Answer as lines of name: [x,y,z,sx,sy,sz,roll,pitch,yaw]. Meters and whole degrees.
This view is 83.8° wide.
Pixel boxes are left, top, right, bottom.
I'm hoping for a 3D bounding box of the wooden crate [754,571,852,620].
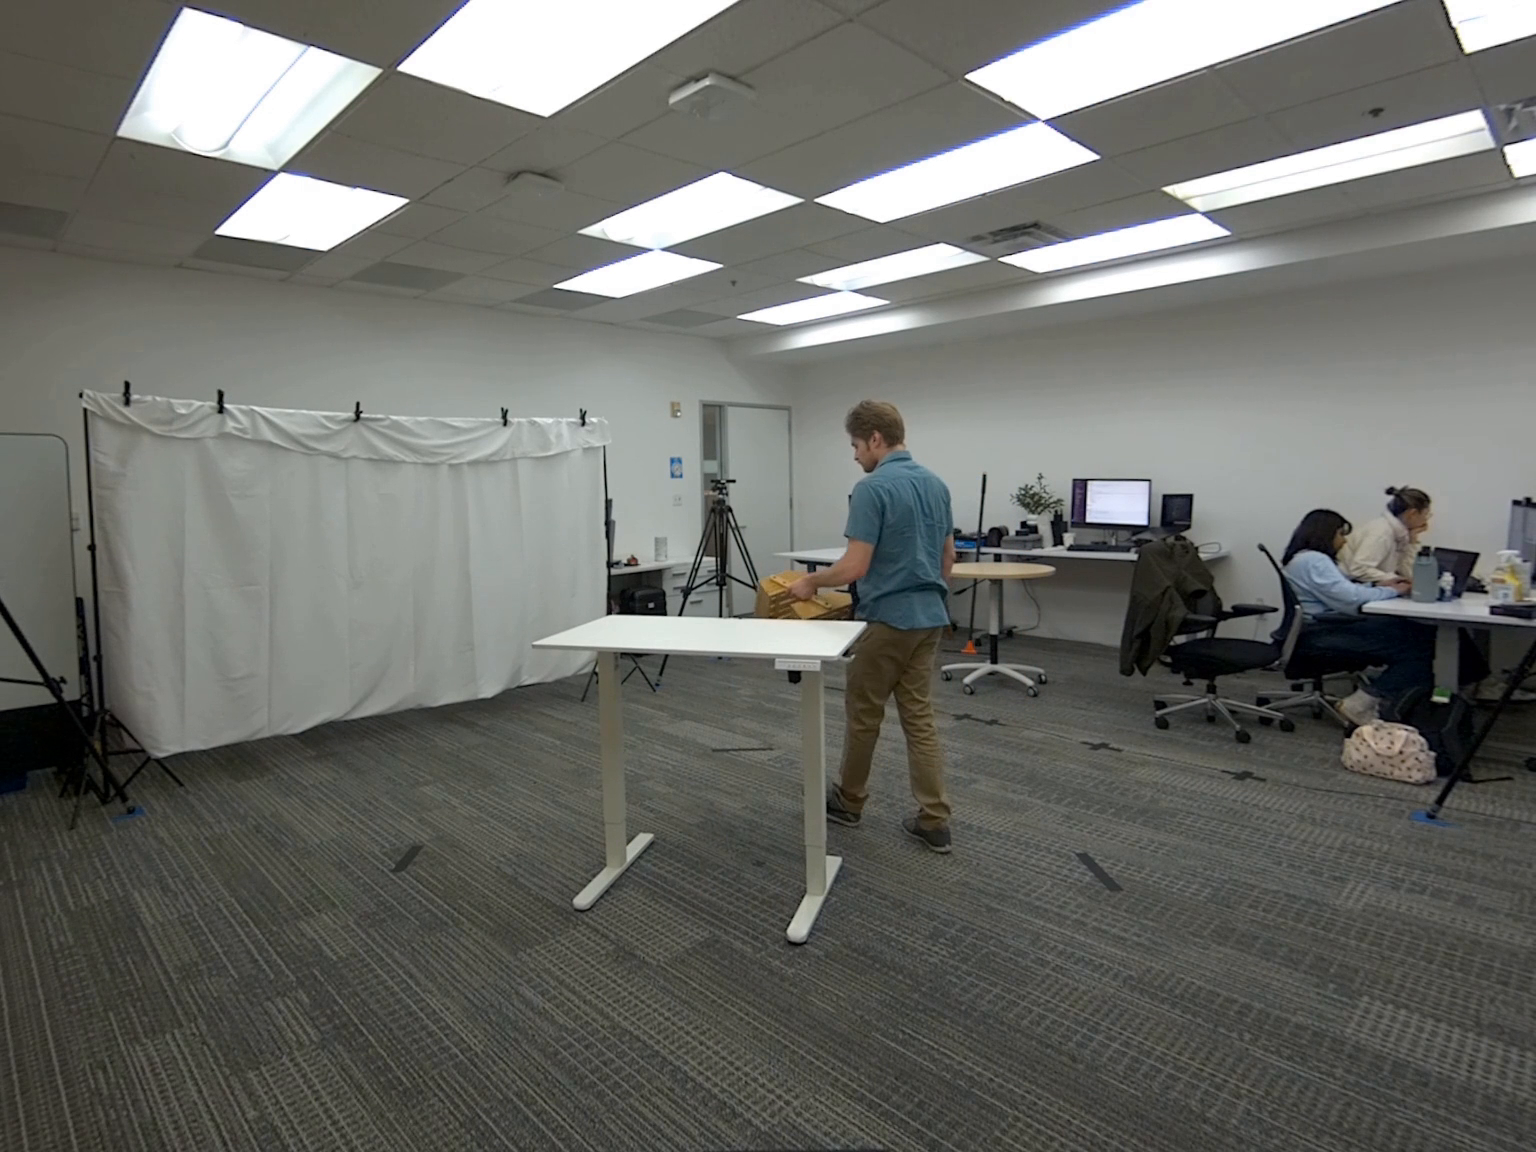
wooden crate: [0.146,0.163,3.495,0.297,0.317,0.284,-16,46,-24]
